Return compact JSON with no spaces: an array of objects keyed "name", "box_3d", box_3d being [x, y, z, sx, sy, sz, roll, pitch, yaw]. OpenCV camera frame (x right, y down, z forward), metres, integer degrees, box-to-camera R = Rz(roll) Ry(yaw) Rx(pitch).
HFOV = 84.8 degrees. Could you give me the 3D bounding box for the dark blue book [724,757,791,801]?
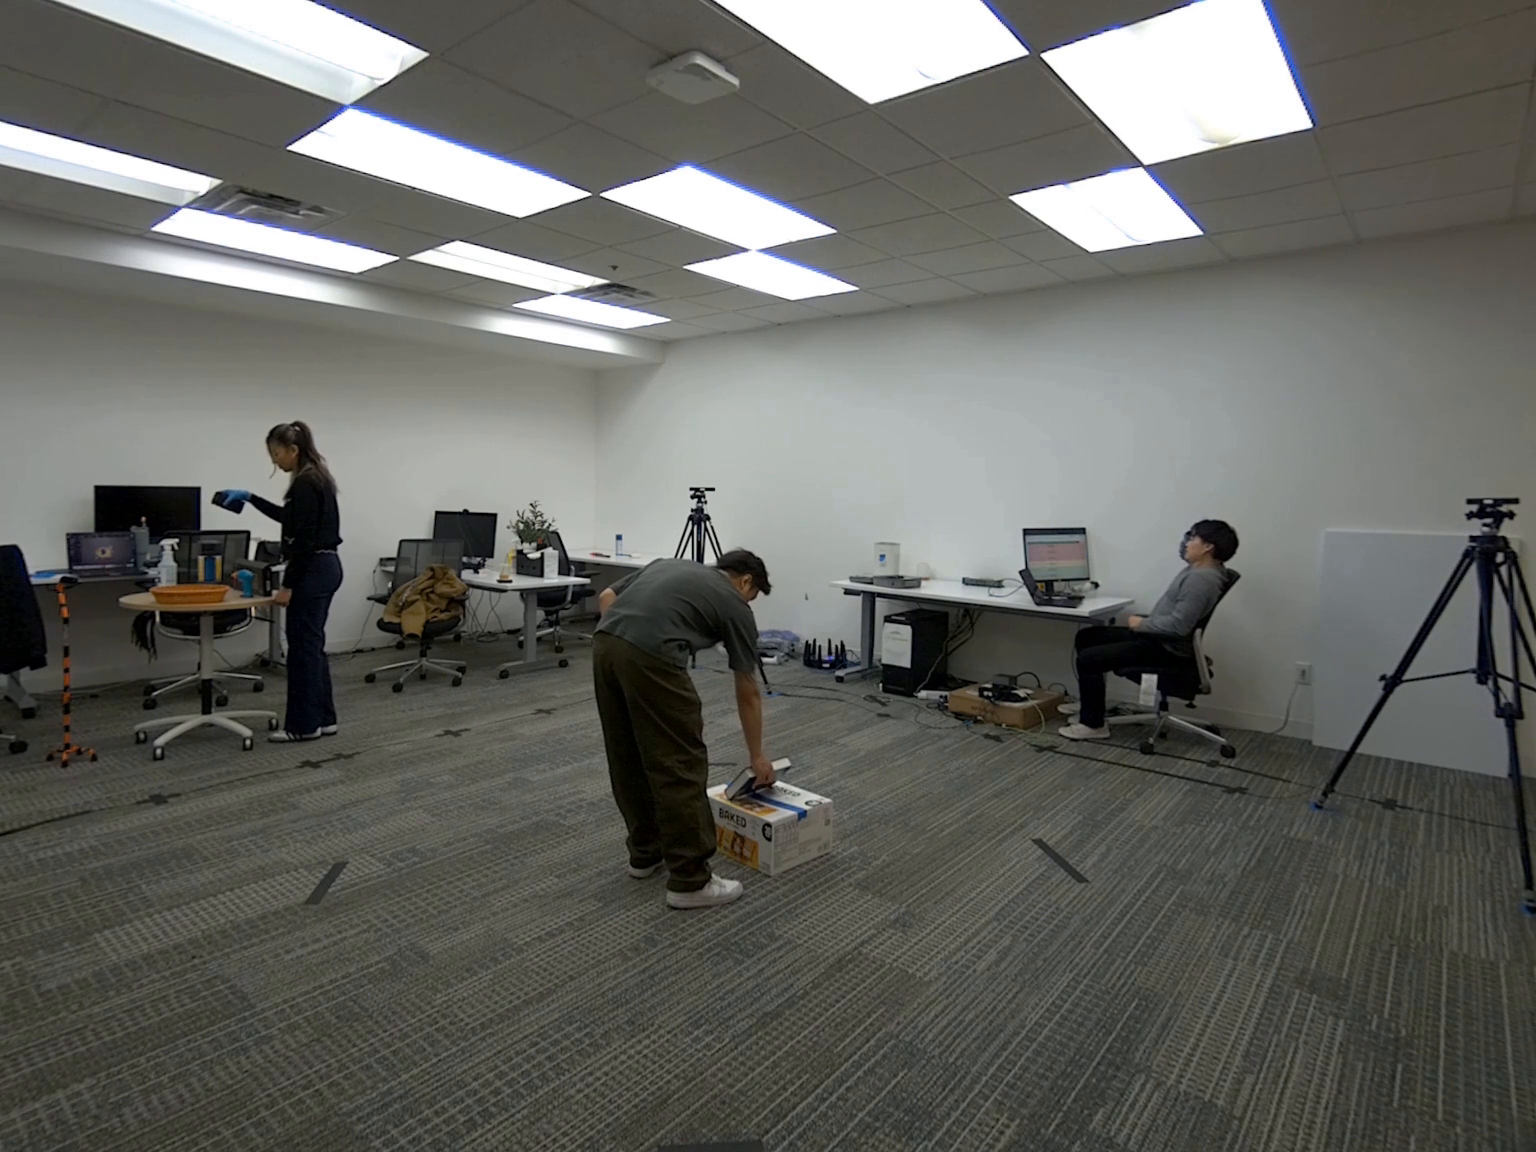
[{"name":"dark blue book","box_3d":[-0.047,0.783,3.317,0.238,0.047,0.163,-4,-39,-44]}]
